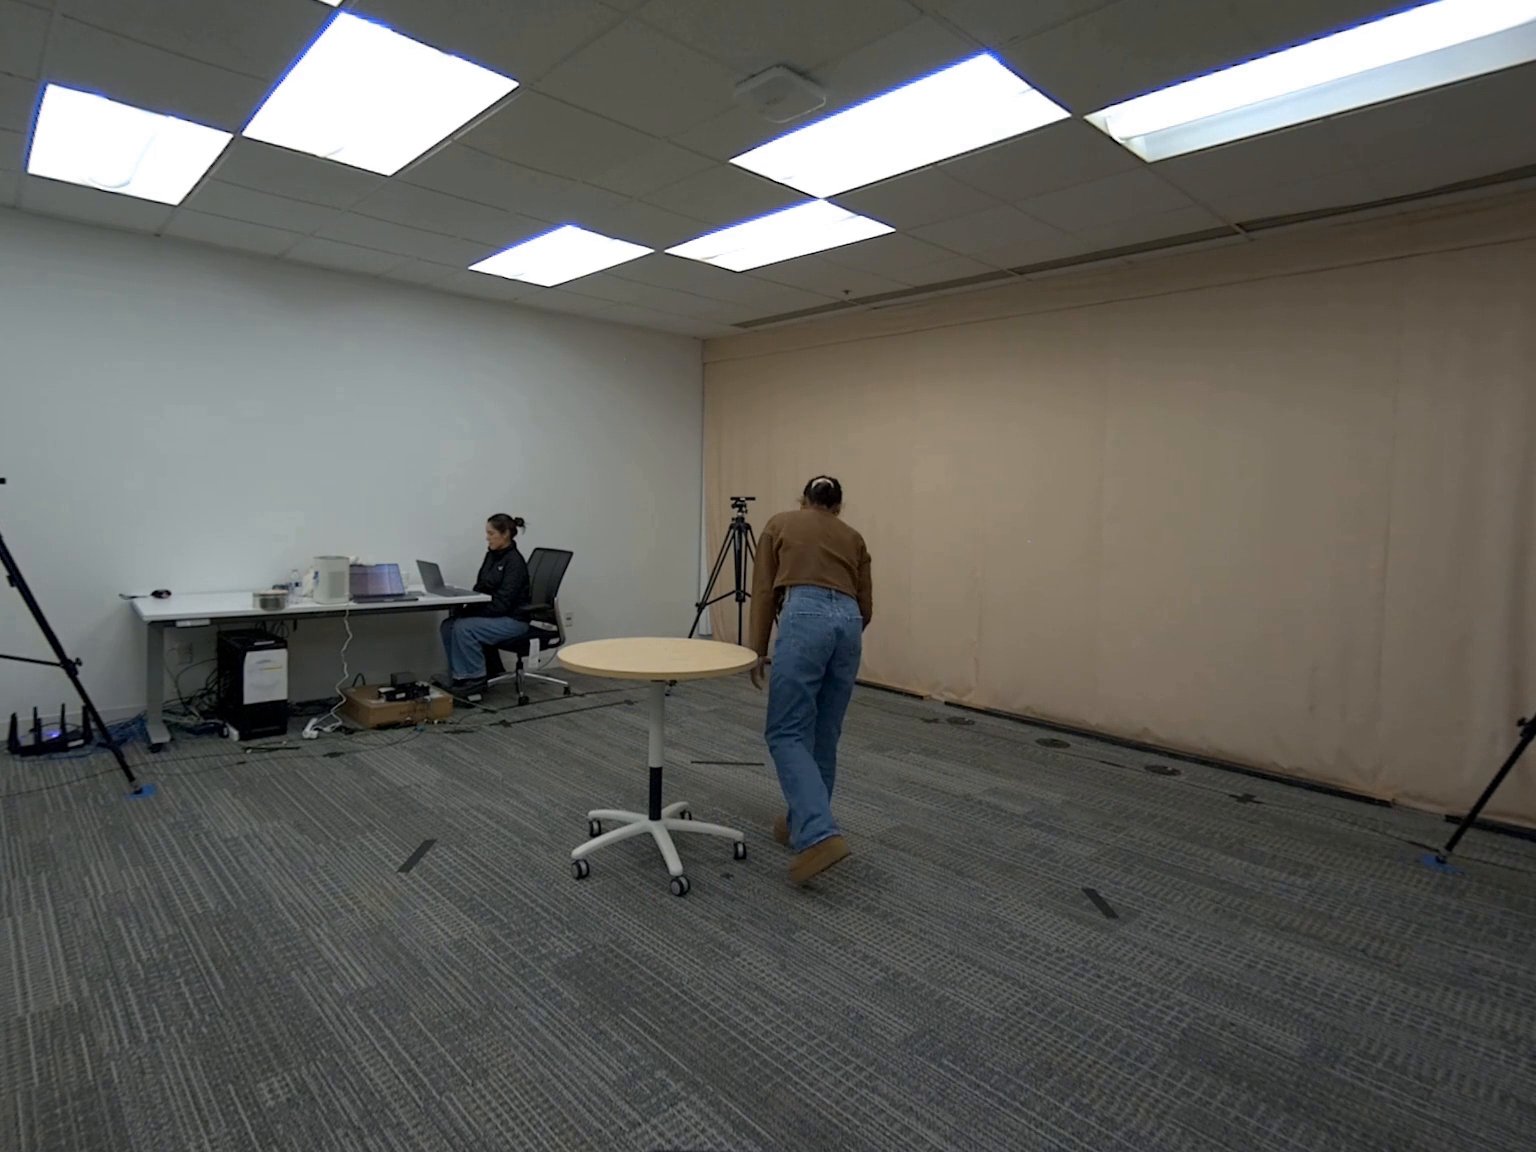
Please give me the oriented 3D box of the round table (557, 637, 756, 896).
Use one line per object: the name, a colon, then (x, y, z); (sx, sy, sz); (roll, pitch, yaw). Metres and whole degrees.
round table: (-0.439, 0.695, 3.260); (0.763, 0.792, 0.766); (1, 4, -1)
